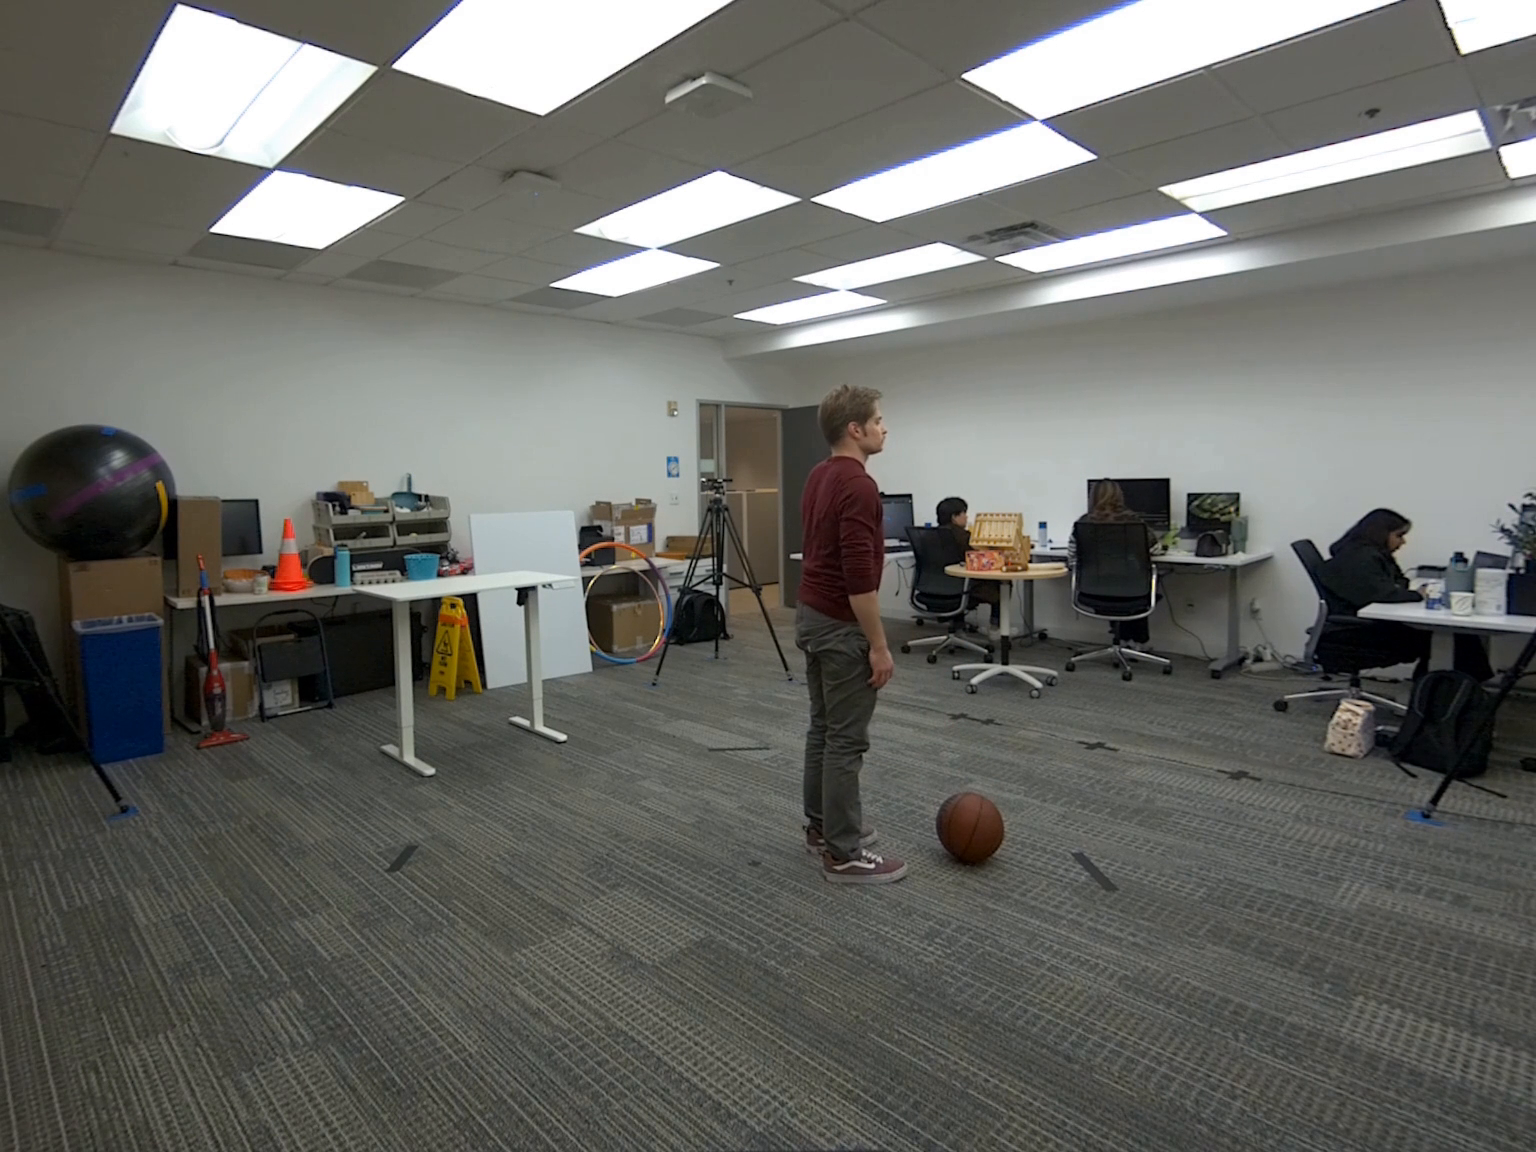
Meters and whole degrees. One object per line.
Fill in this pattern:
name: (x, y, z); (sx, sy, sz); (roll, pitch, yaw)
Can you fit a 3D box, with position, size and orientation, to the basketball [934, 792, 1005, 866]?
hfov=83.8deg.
basketball: (0.730, 0.905, 3.100); (0.236, 0.235, 0.237); (-1, 5, -2)
